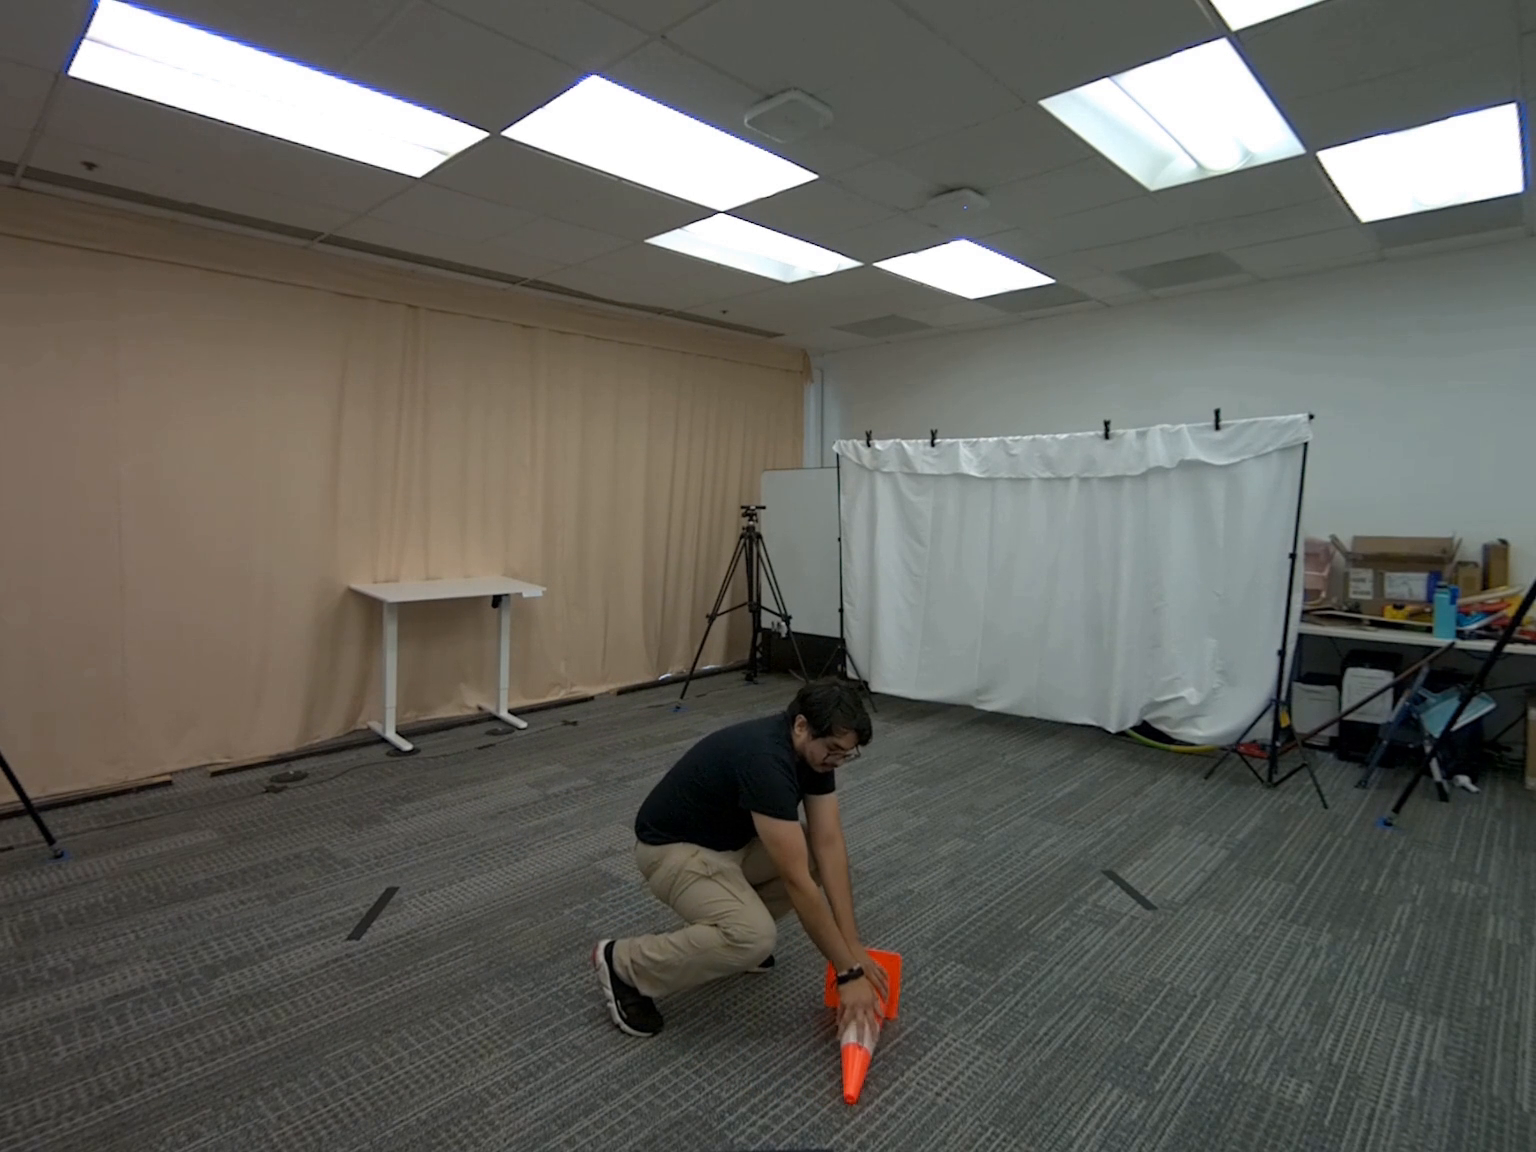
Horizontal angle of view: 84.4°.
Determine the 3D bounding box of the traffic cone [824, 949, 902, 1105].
[{"bbox_3d":[0.240,1.155,2.109,0.207,0.202,0.382,0,11,10],"label":"traffic cone"}]
